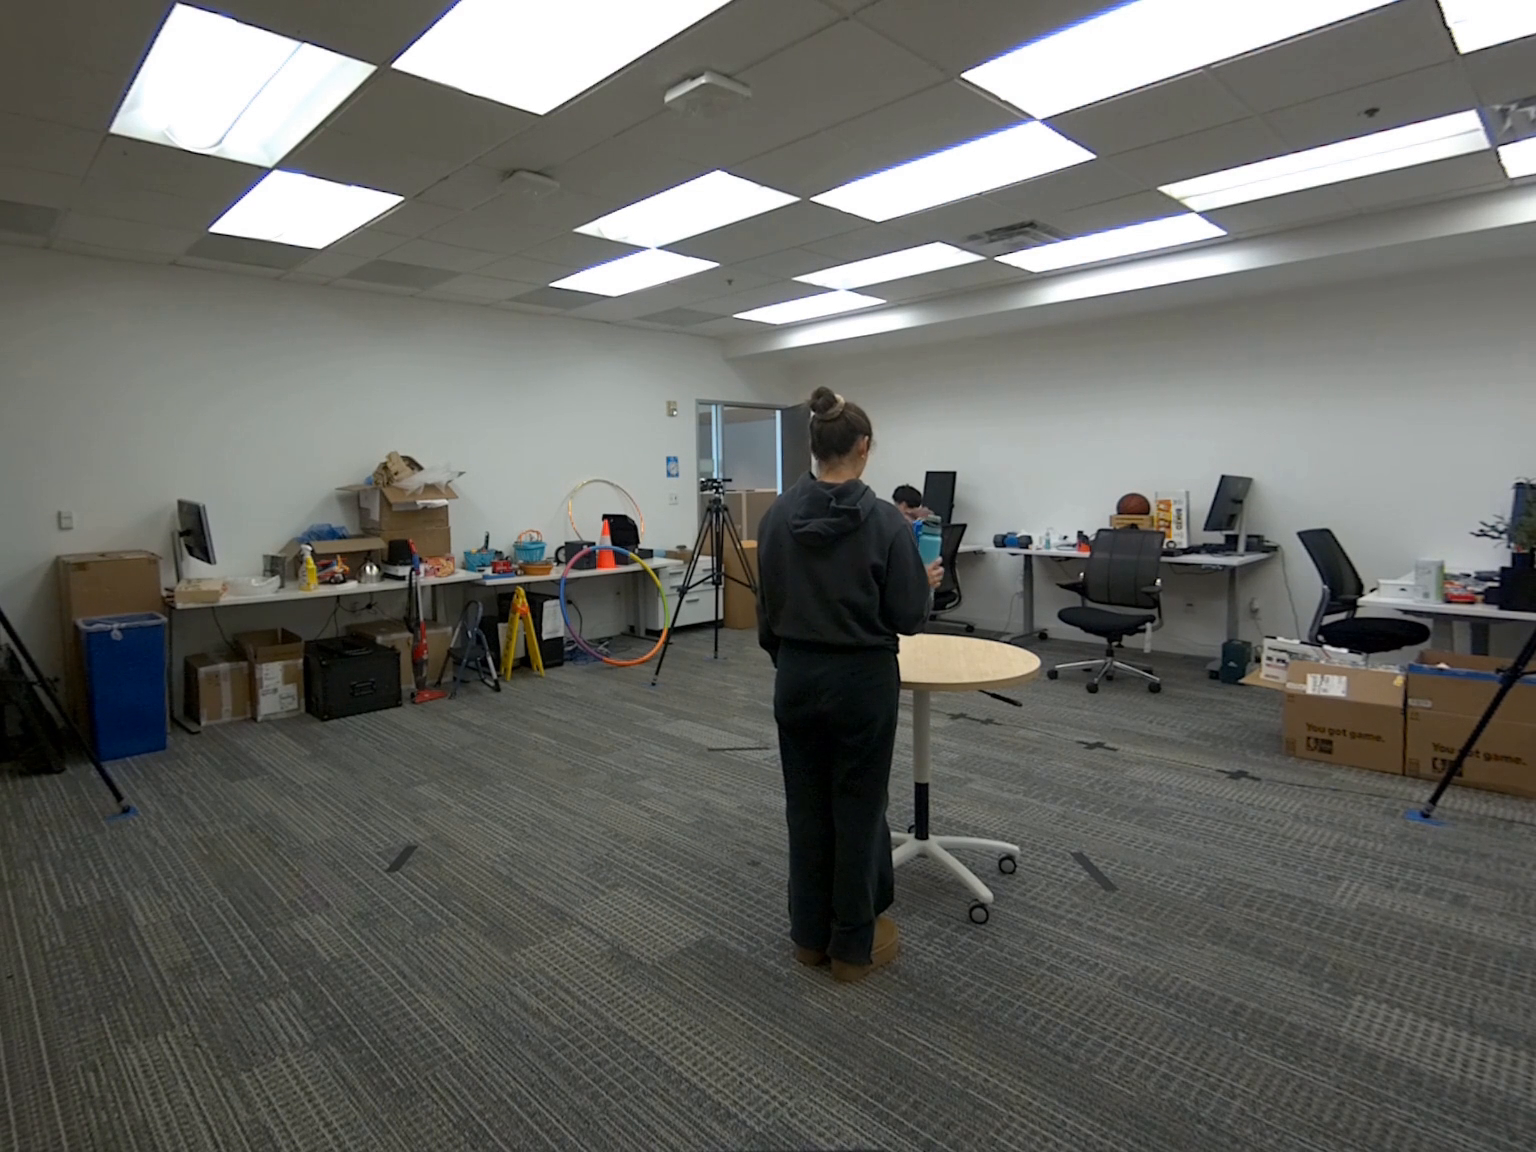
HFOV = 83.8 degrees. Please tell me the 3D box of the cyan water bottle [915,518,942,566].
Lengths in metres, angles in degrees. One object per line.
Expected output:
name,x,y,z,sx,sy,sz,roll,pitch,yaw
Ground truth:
cyan water bottle,0.478,-0.036,2.614,0.092,0.282,0.093,5,7,-2
